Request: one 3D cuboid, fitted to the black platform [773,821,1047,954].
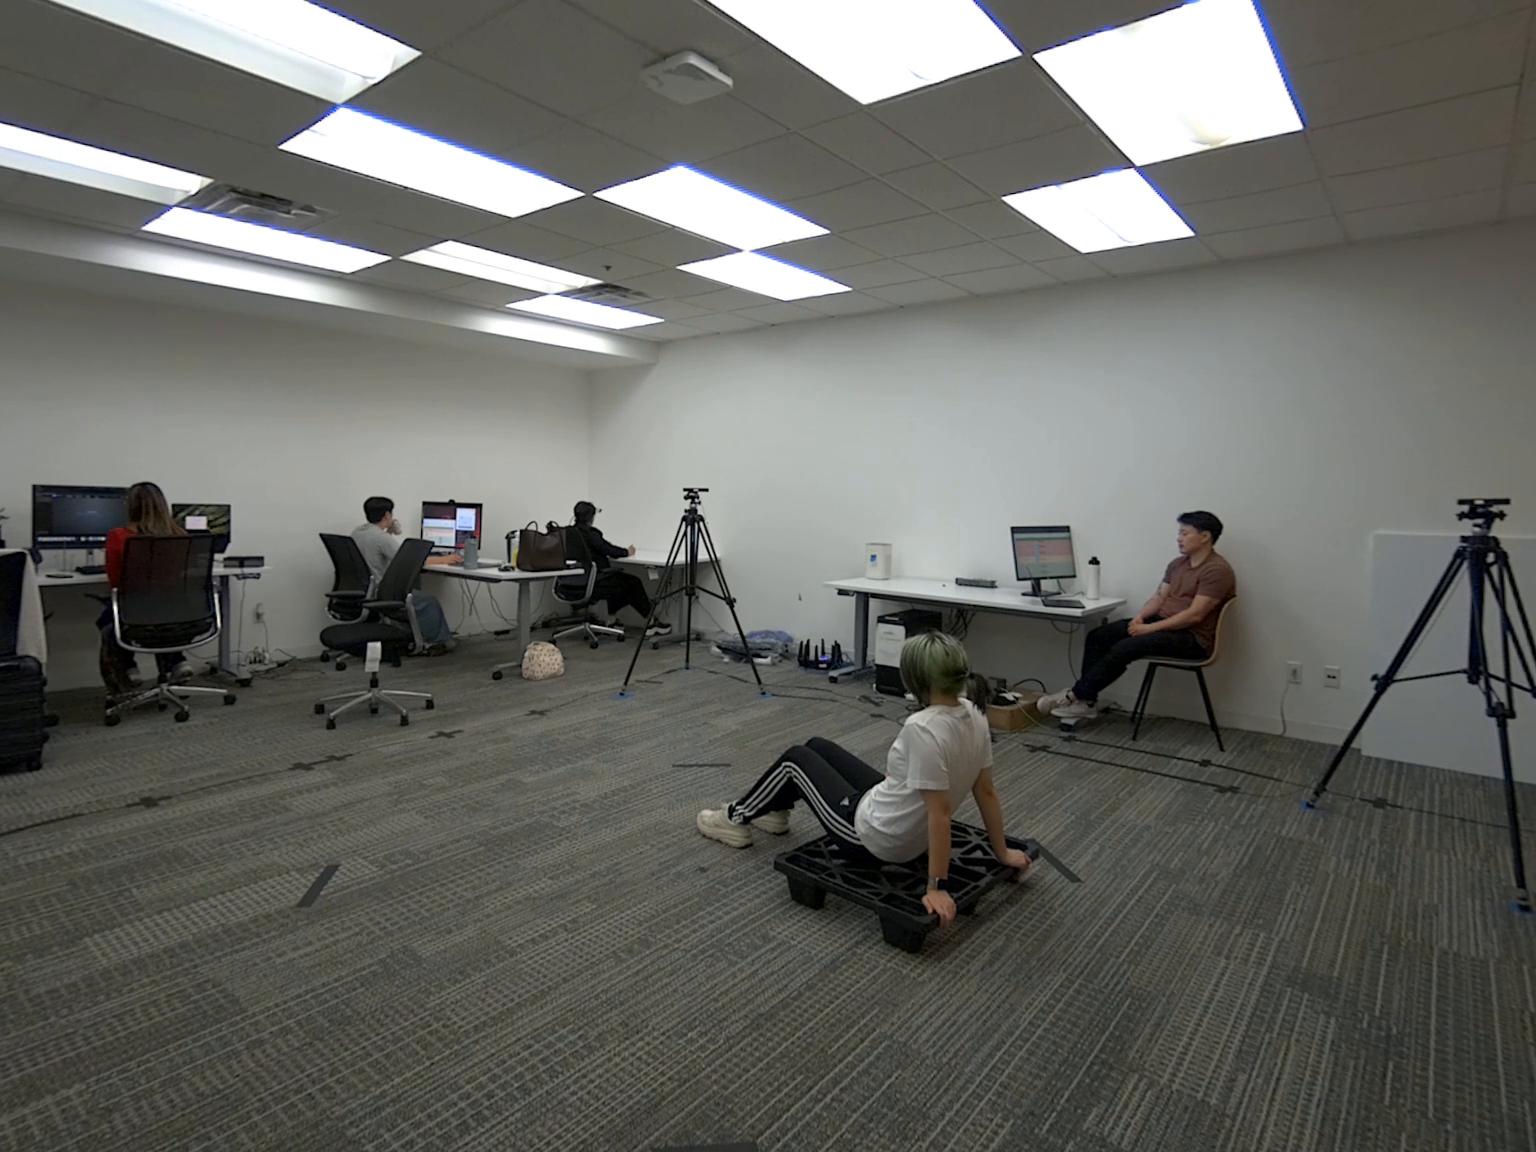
[{"bbox_3d":[0.487,1.030,2.981,0.626,0.143,0.781,5,6,43],"label":"black platform"}]
